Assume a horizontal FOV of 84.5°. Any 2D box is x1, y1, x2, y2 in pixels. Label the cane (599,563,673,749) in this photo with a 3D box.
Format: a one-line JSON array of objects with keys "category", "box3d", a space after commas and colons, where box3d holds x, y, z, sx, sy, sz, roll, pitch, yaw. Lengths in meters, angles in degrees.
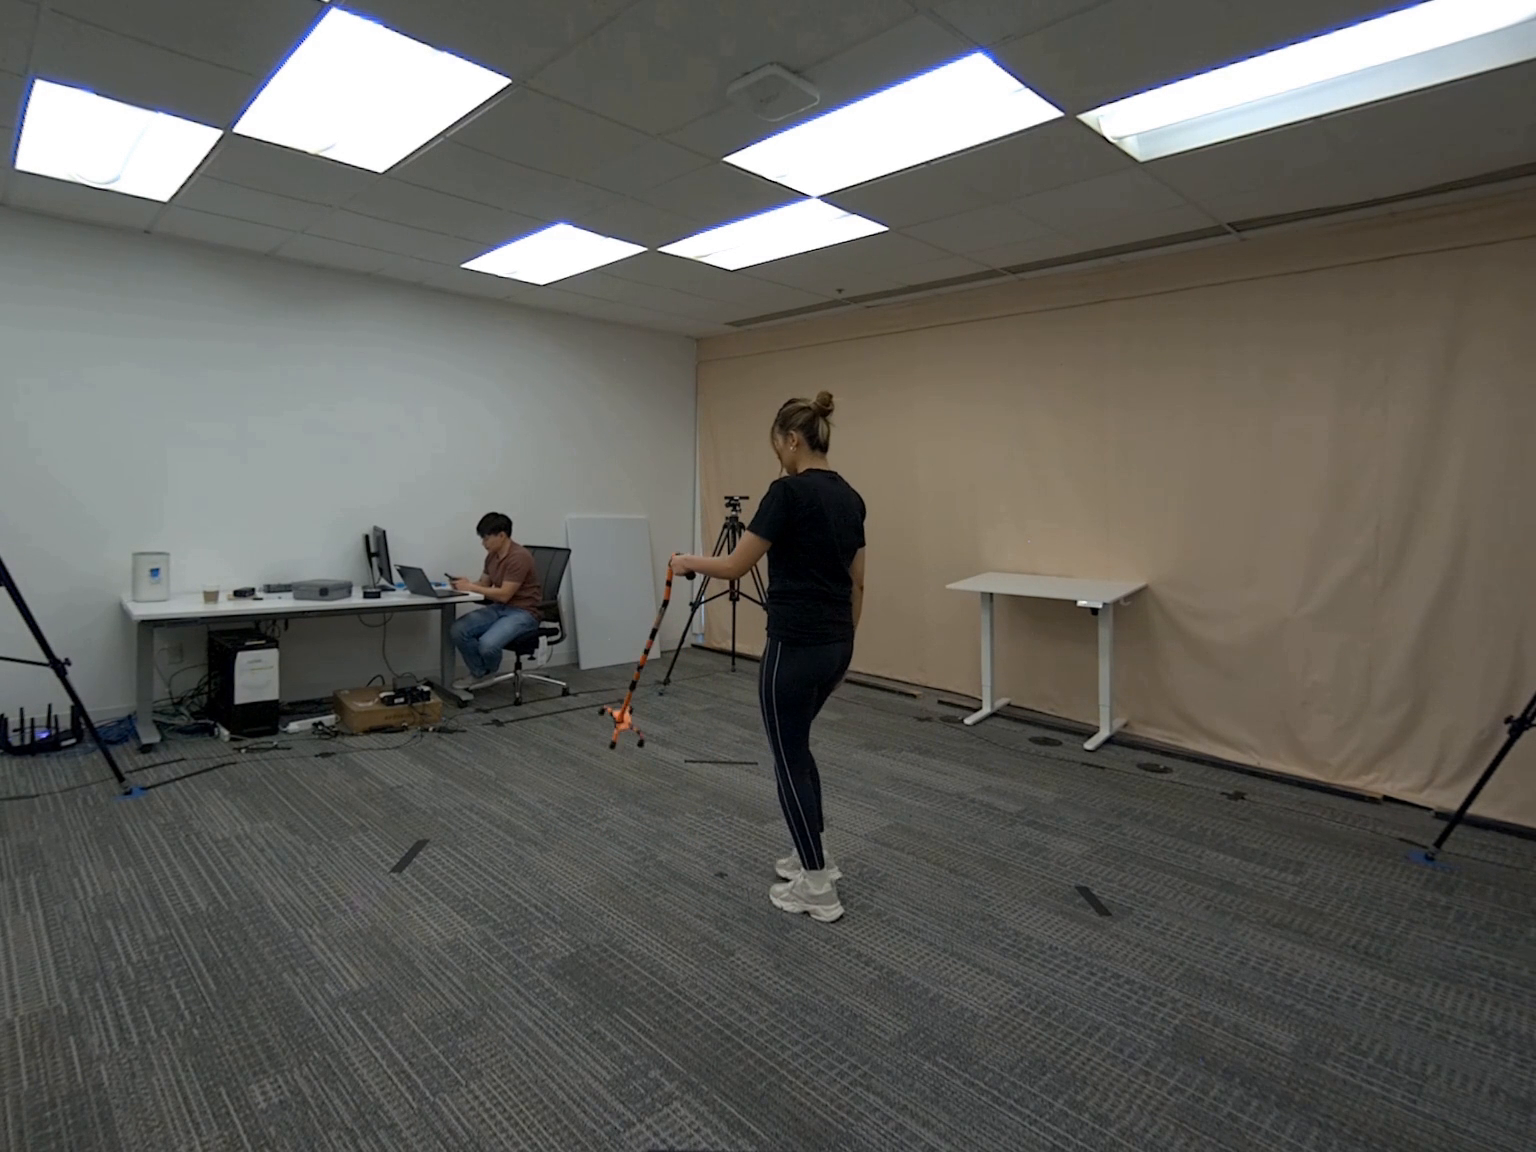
[{"category": "cane", "box3d": [-0.449, 0.294, 3.195, 0.148, 0.898, 0.213, 2, 37, -29]}]
